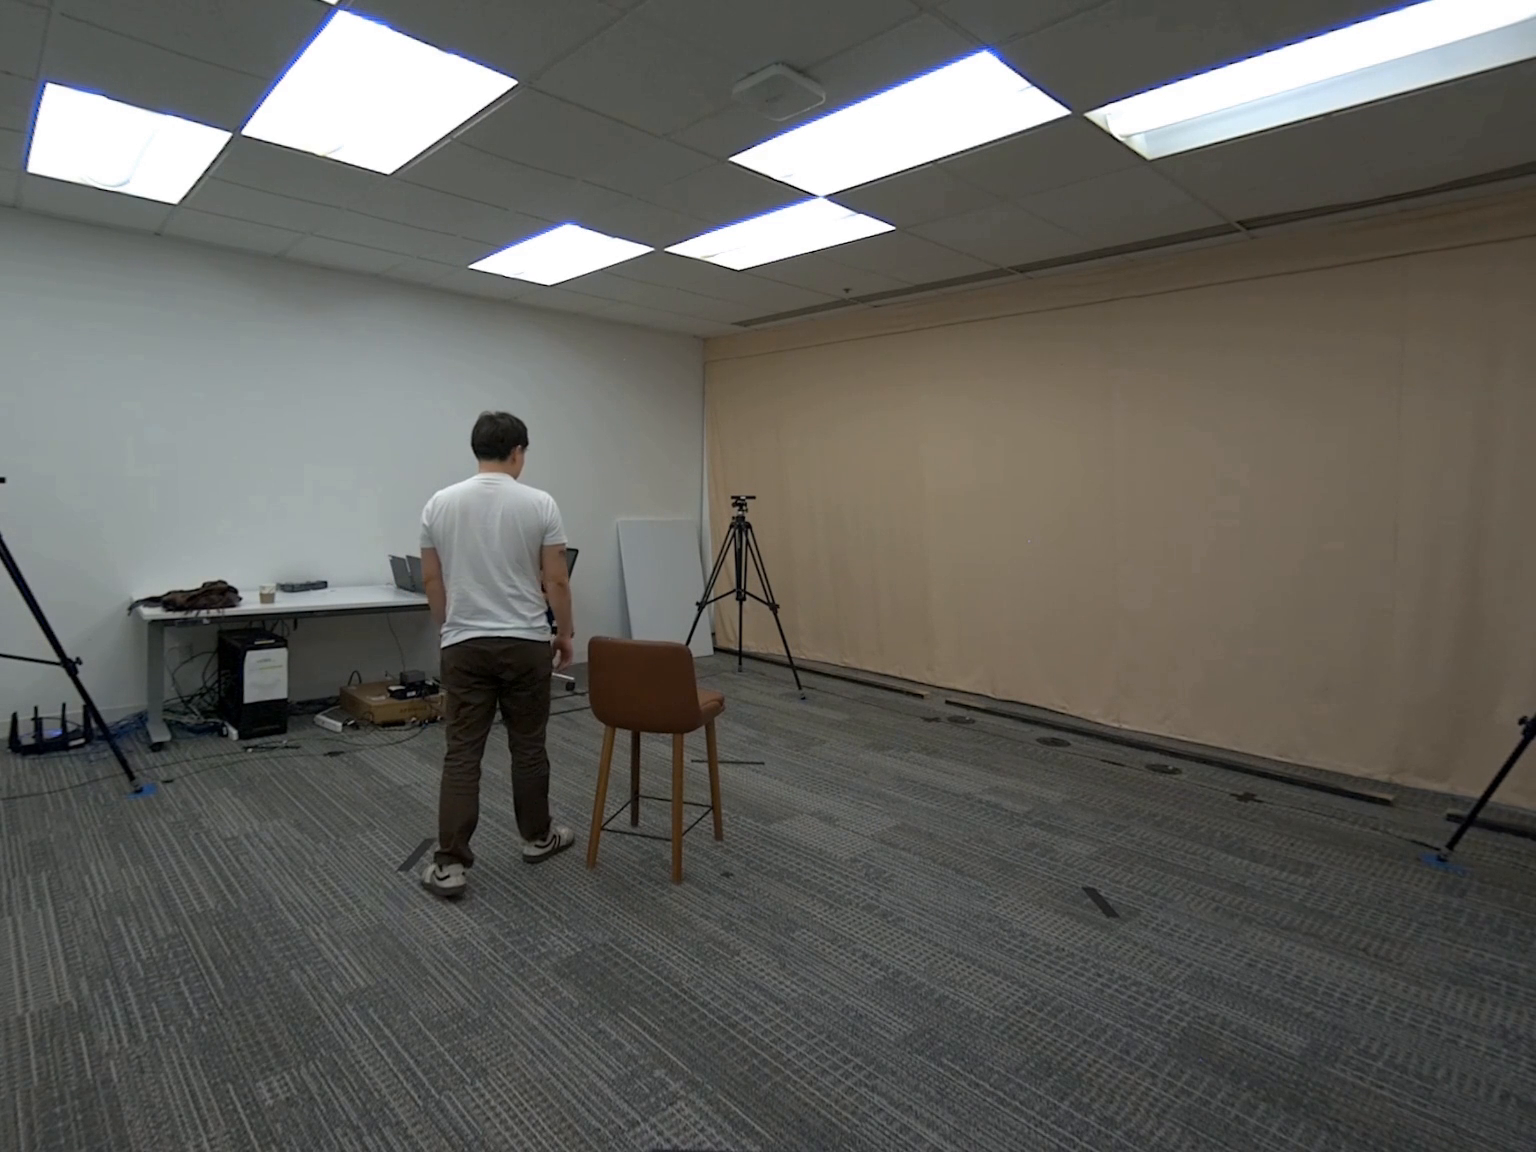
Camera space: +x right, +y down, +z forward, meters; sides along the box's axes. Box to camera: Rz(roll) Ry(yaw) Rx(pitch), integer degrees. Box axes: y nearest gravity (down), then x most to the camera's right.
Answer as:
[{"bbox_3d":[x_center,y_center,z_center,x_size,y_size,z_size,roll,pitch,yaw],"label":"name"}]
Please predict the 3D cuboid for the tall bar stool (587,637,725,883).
[{"bbox_3d":[-0.440,0.649,3.257,0.463,0.887,0.462,2,5,18],"label":"tall bar stool"}]
